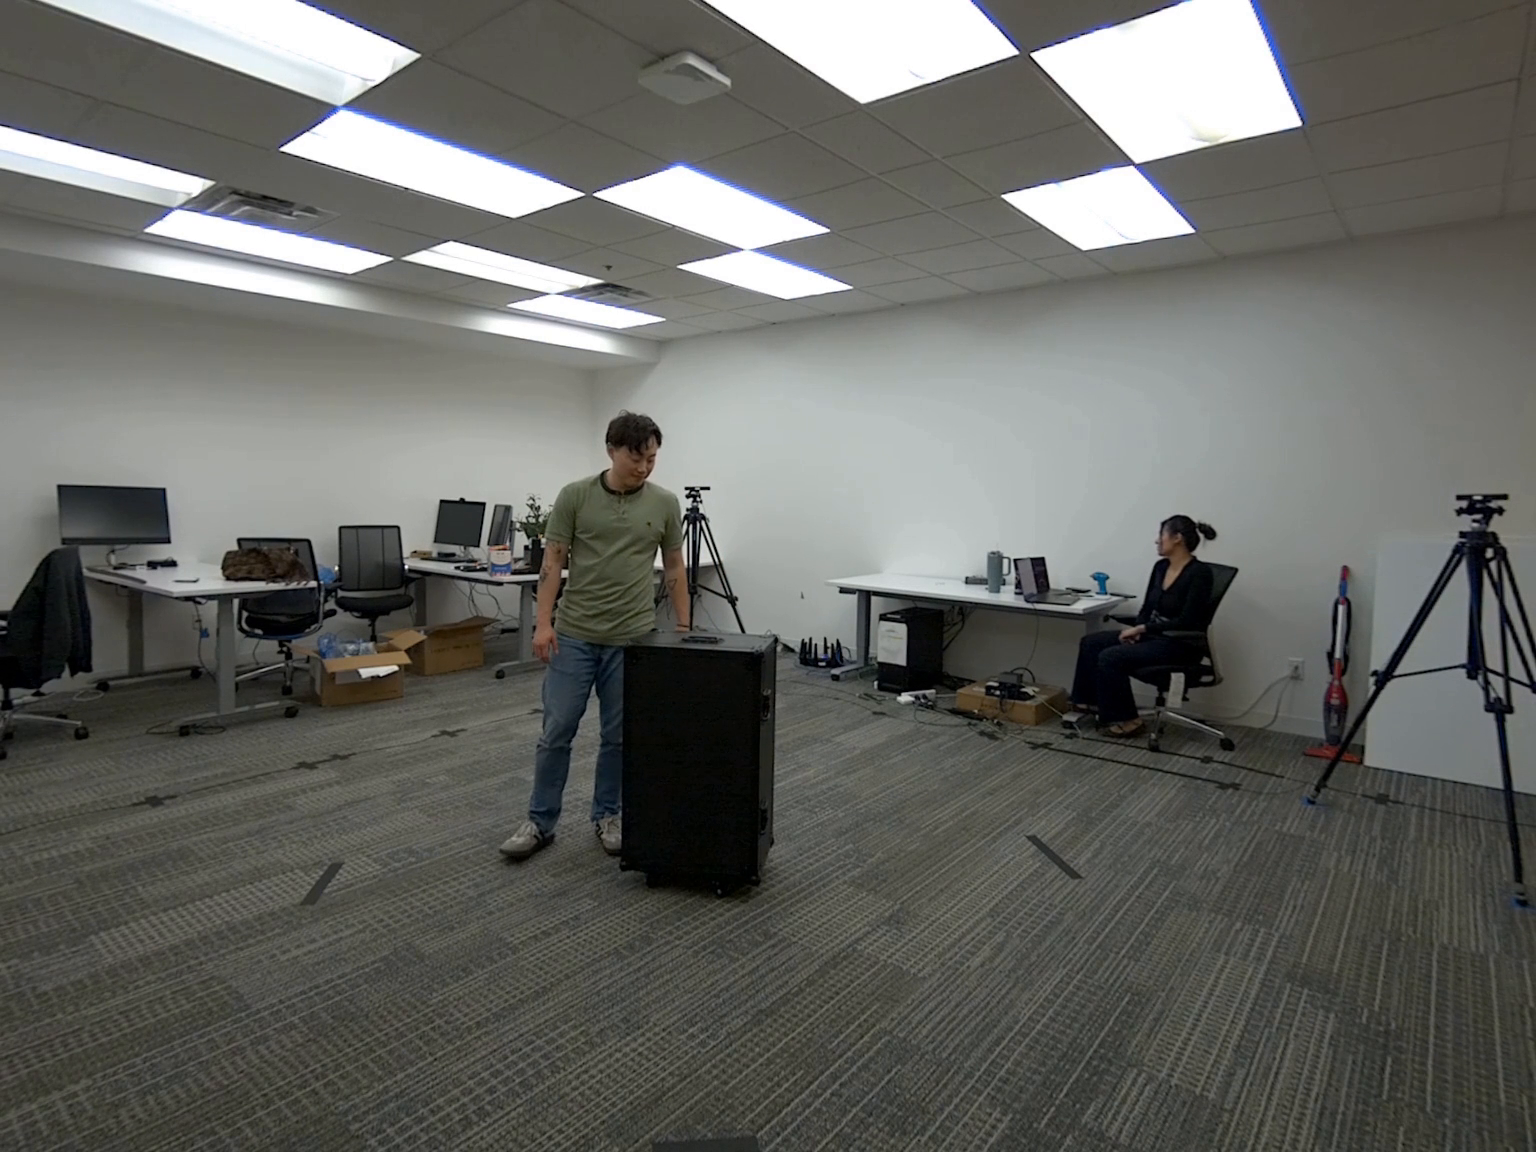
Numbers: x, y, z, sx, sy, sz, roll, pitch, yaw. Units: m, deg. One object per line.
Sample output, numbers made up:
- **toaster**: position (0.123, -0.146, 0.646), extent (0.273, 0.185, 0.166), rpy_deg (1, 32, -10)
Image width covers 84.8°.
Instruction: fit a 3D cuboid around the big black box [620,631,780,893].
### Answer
- **big black box**: position (-0.245, 0.646, 3.030), extent (0.528, 0.859, 0.392), rpy_deg (1, 3, 11)
